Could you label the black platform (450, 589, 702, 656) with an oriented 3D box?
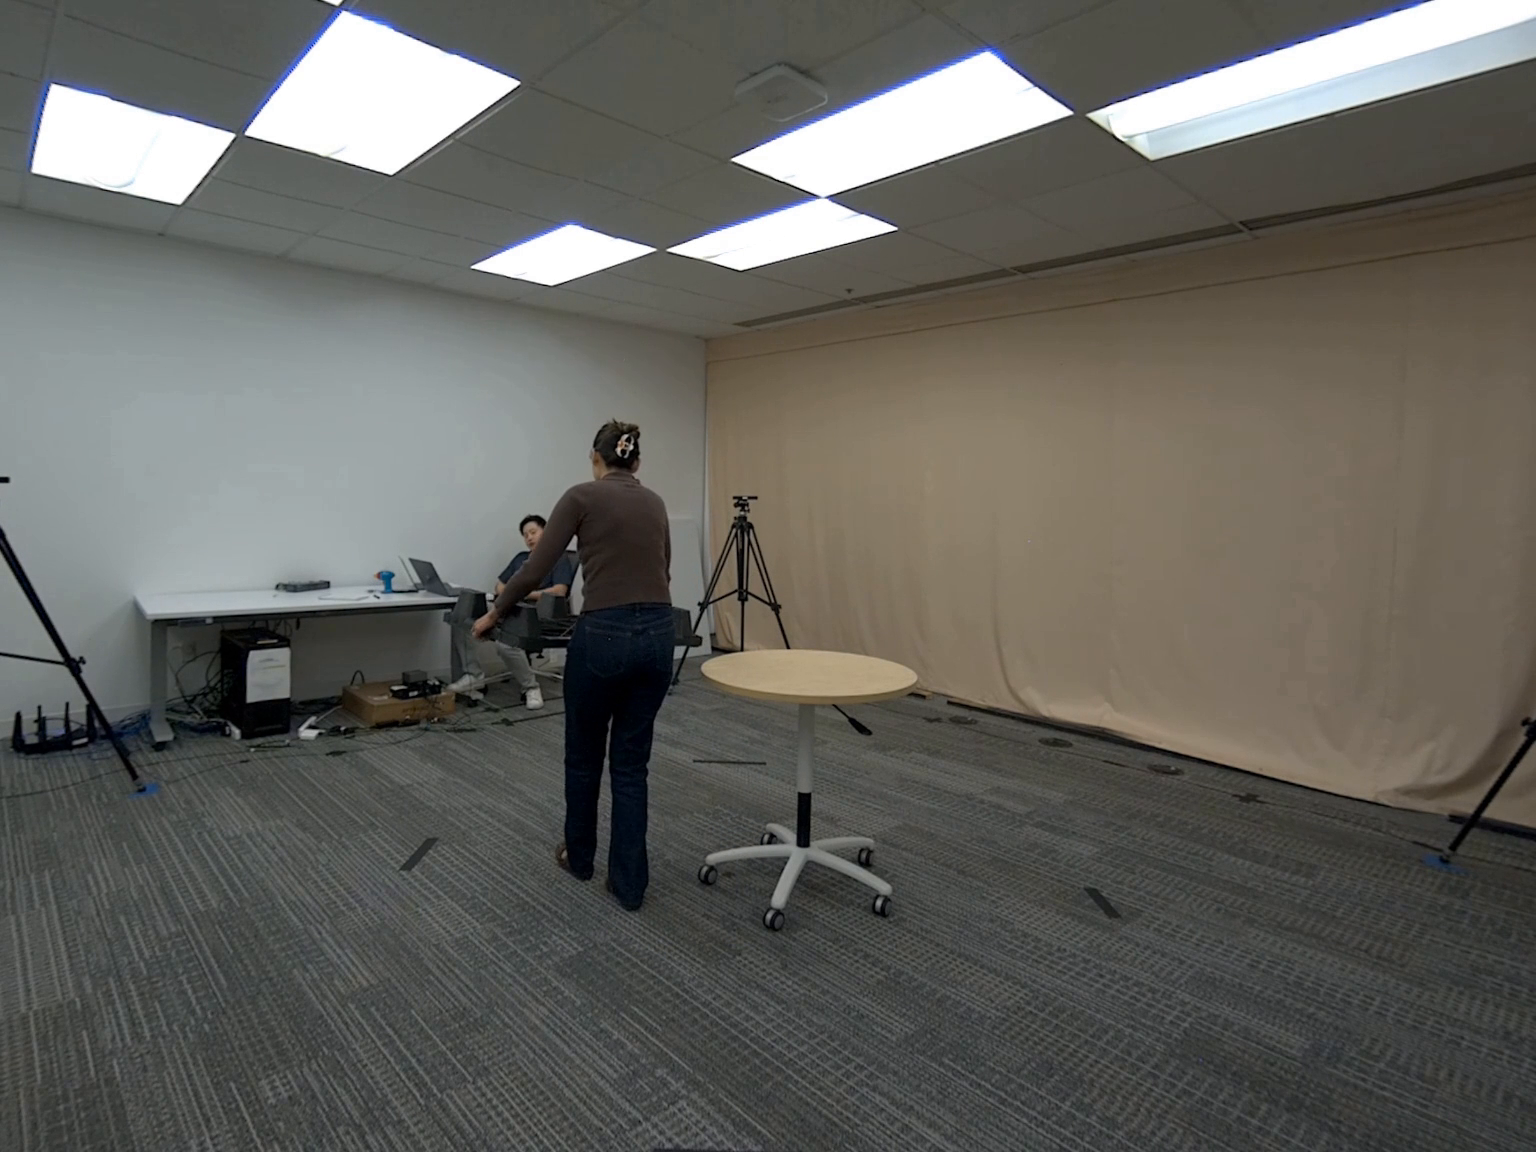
[{"bbox_3d":[-0.739,0.162,3.209,0.785,0.143,0.621,4,3,-44],"label":"black platform"}]
